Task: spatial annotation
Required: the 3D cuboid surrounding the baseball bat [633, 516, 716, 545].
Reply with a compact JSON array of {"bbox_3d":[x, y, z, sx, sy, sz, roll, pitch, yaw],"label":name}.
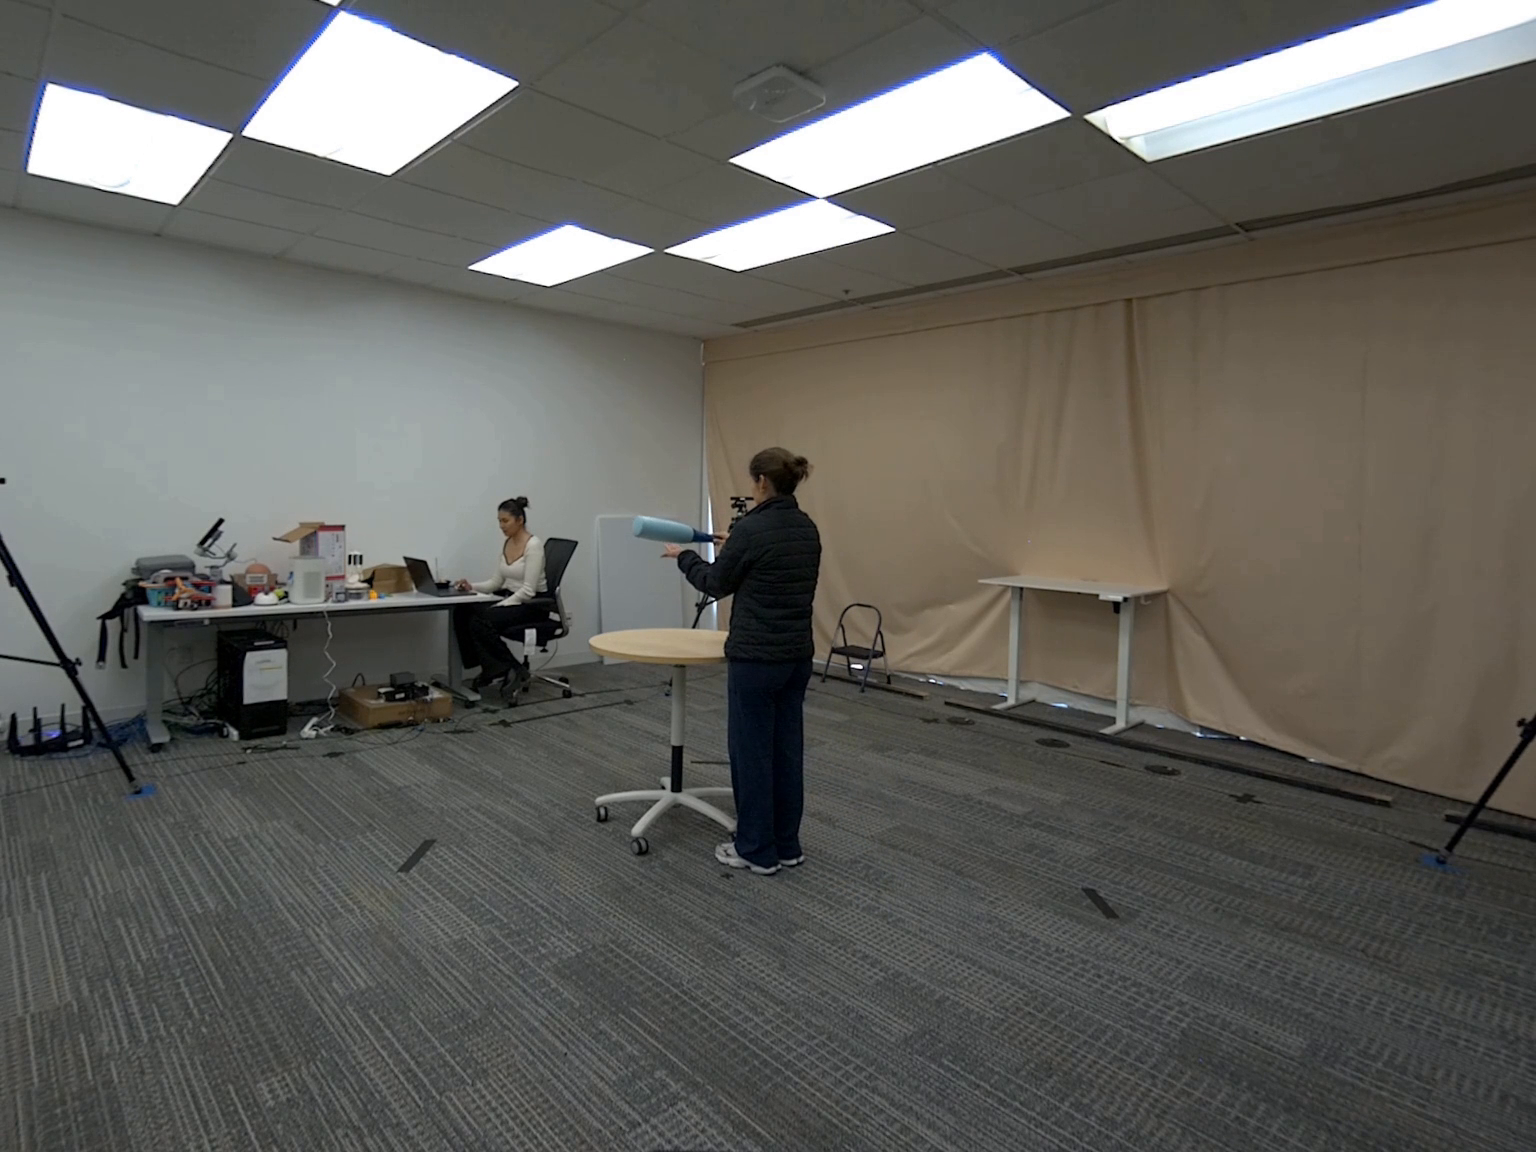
[{"bbox_3d":[-0.312,-0.165,3.431,0.529,0.089,0.091,8,-1,-38],"label":"baseball bat"}]
